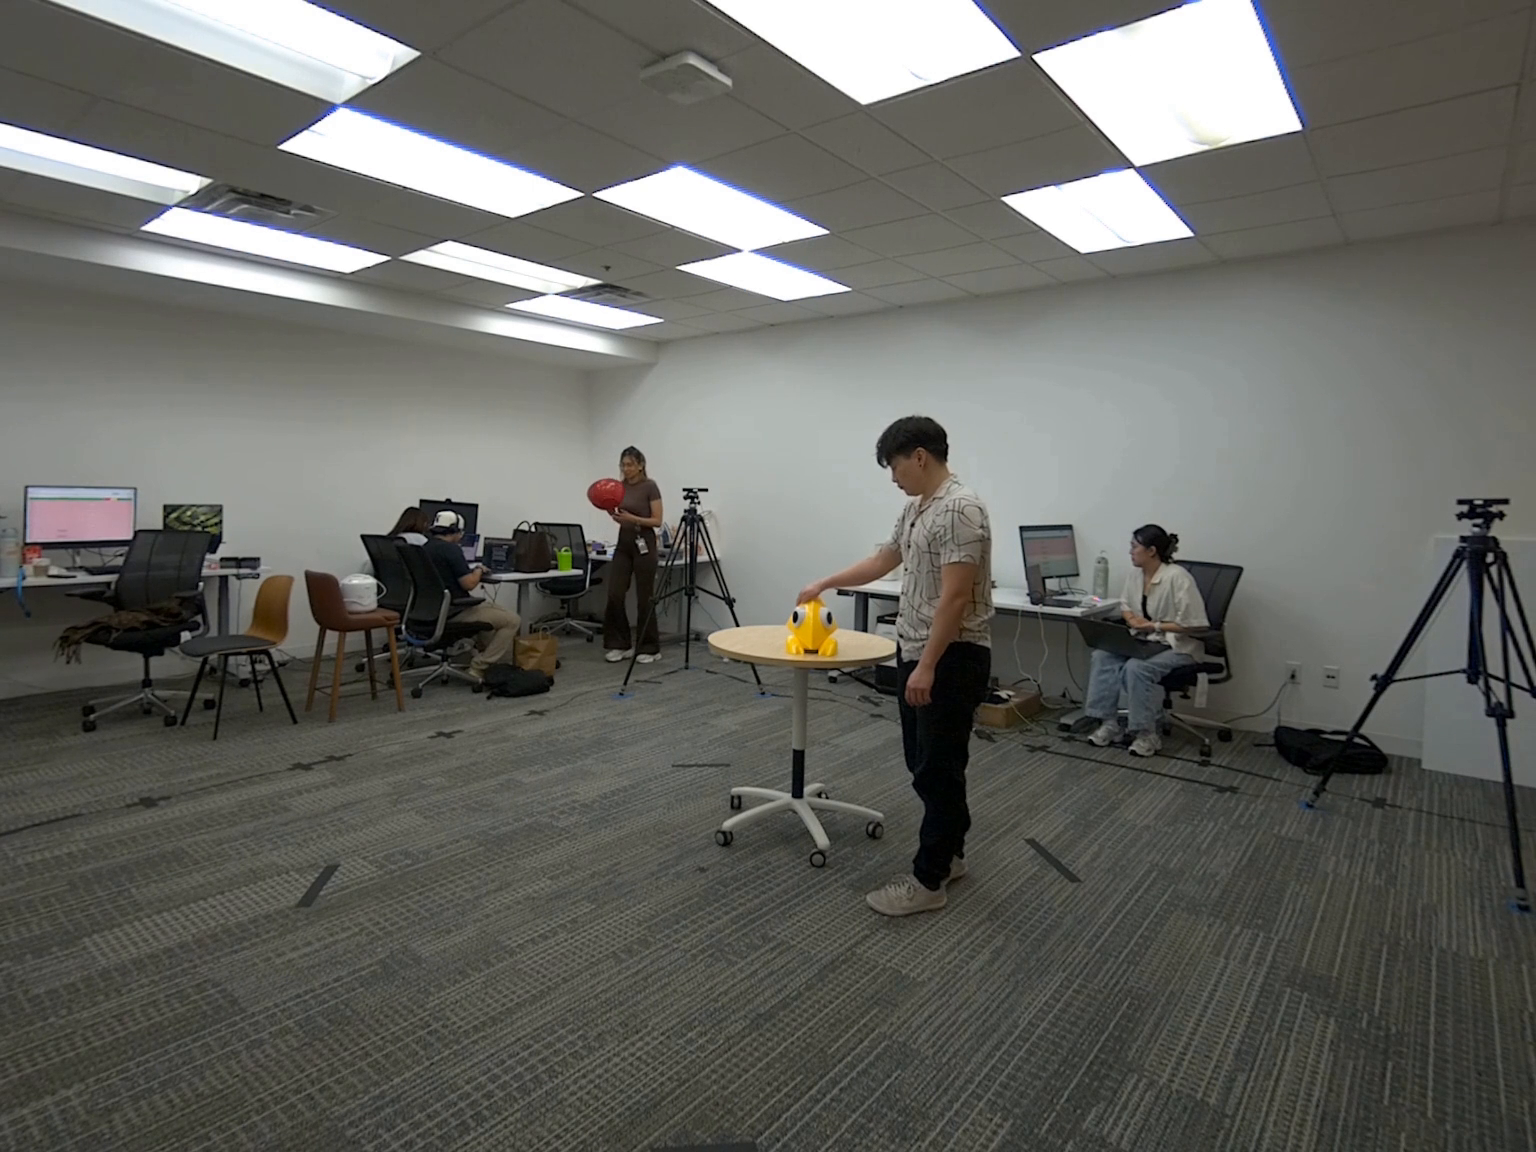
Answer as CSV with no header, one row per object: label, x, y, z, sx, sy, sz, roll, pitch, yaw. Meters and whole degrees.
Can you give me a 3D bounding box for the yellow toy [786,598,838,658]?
yellow toy,0.161,0.170,3.244,0.206,0.230,0.193,2,5,3
